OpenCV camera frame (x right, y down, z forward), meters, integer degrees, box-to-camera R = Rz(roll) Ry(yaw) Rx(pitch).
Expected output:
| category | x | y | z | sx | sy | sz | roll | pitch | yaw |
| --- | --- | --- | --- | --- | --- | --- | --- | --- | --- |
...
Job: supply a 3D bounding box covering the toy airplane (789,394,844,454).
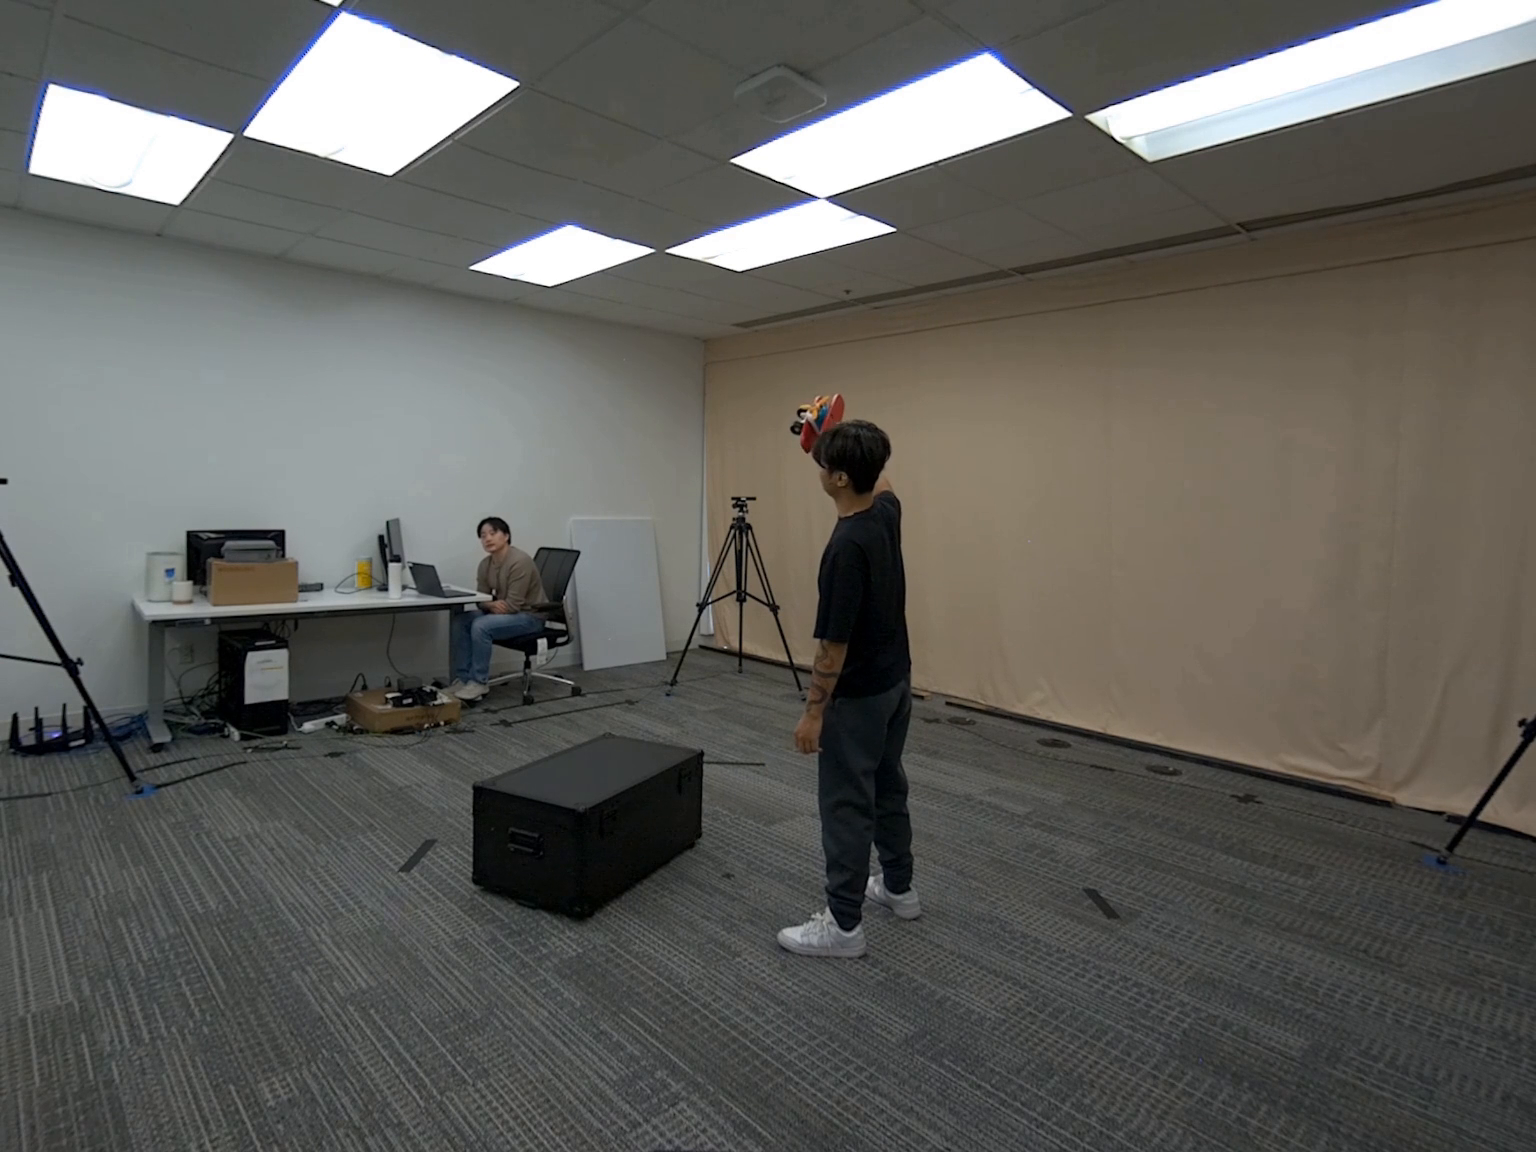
| category | x | y | z | sx | sy | sz | roll | pitch | yaw |
| --- | --- | --- | --- | --- | --- | --- | --- | --- | --- |
| toy airplane | 0.210 | -0.554 | 3.166 | 0.159 | 0.253 | 0.252 | -11 | -16 | 44 |
